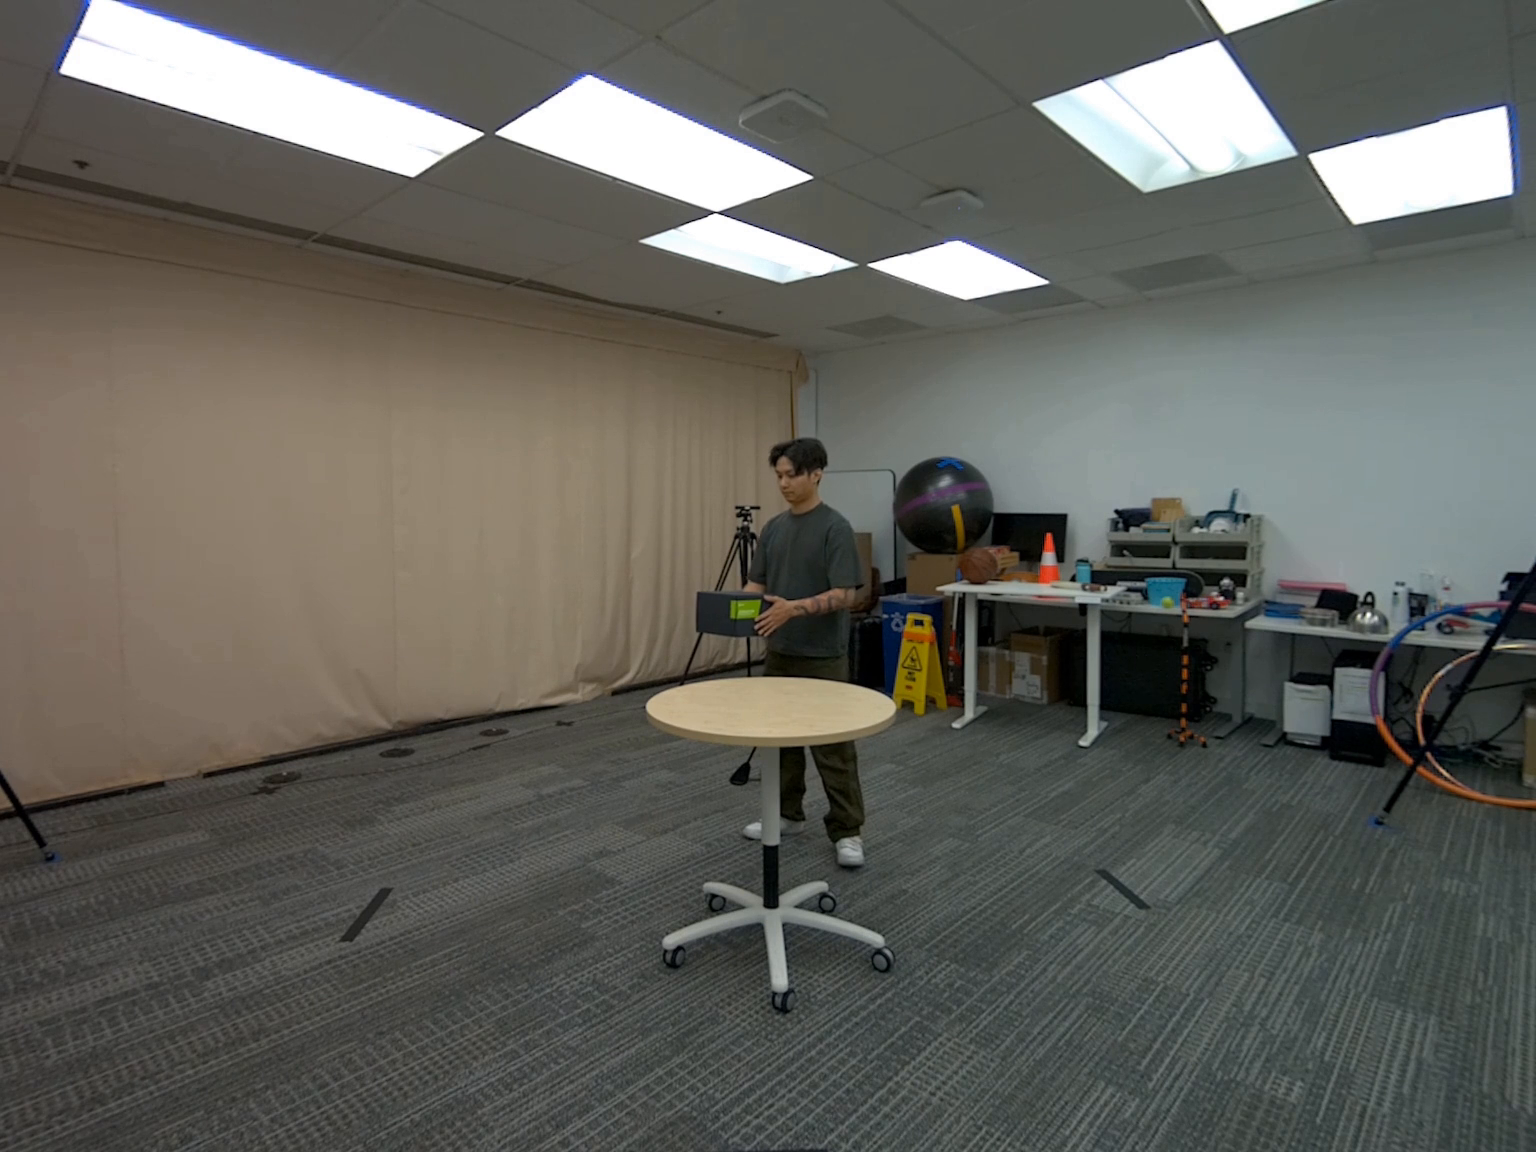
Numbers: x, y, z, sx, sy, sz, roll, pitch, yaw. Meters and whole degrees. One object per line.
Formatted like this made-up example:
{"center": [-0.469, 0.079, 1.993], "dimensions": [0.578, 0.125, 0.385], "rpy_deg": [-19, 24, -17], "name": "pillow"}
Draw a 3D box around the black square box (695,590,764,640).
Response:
{"center": [-0.120, 0.140, 3.195], "dimensions": [0.224, 0.156, 0.220], "rpy_deg": [4, 2, 44], "name": "black square box"}
